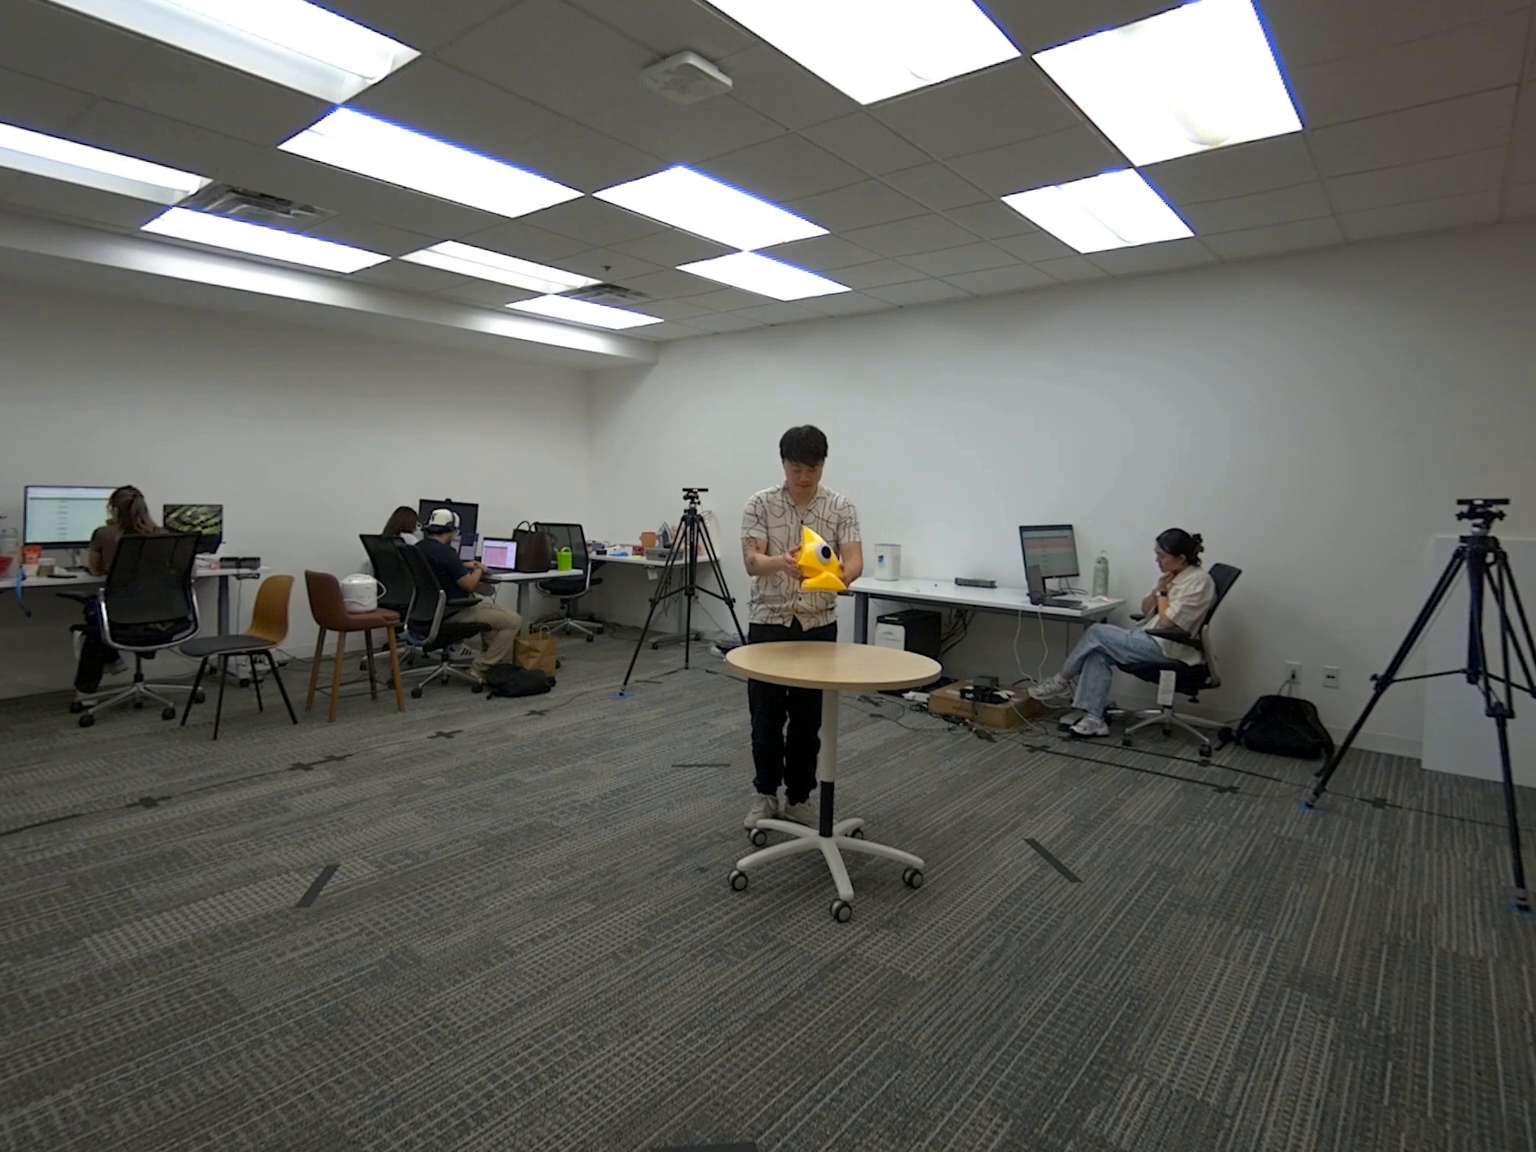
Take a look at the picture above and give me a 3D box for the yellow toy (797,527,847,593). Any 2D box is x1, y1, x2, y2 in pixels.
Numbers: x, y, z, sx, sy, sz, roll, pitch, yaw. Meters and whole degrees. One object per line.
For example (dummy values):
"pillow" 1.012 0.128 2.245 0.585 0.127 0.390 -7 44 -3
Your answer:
"yellow toy" 0.180 -0.071 3.124 0.192 0.232 0.204 2 -6 -5
